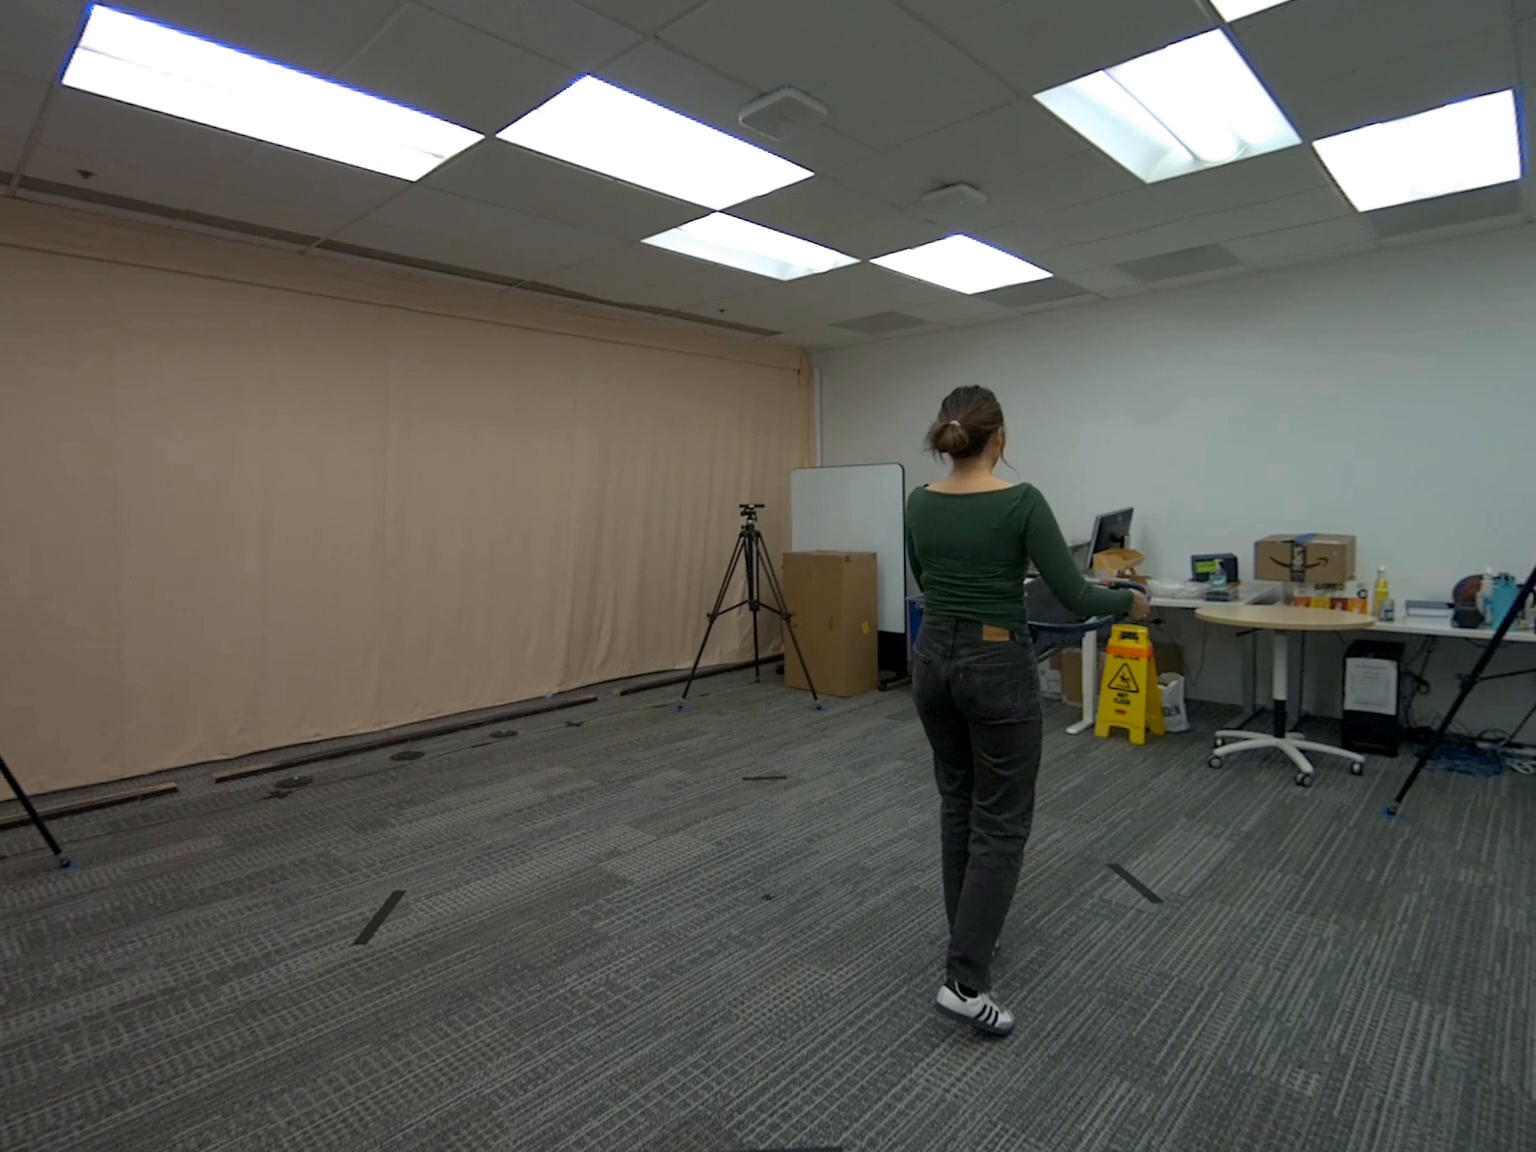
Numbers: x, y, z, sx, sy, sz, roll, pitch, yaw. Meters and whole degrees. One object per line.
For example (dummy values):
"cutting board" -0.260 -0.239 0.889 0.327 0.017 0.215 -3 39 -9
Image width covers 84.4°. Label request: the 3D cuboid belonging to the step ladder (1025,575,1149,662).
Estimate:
"step ladder" 0.880 0.110 2.685 0.422 0.351 0.614 -22 -6 -30
